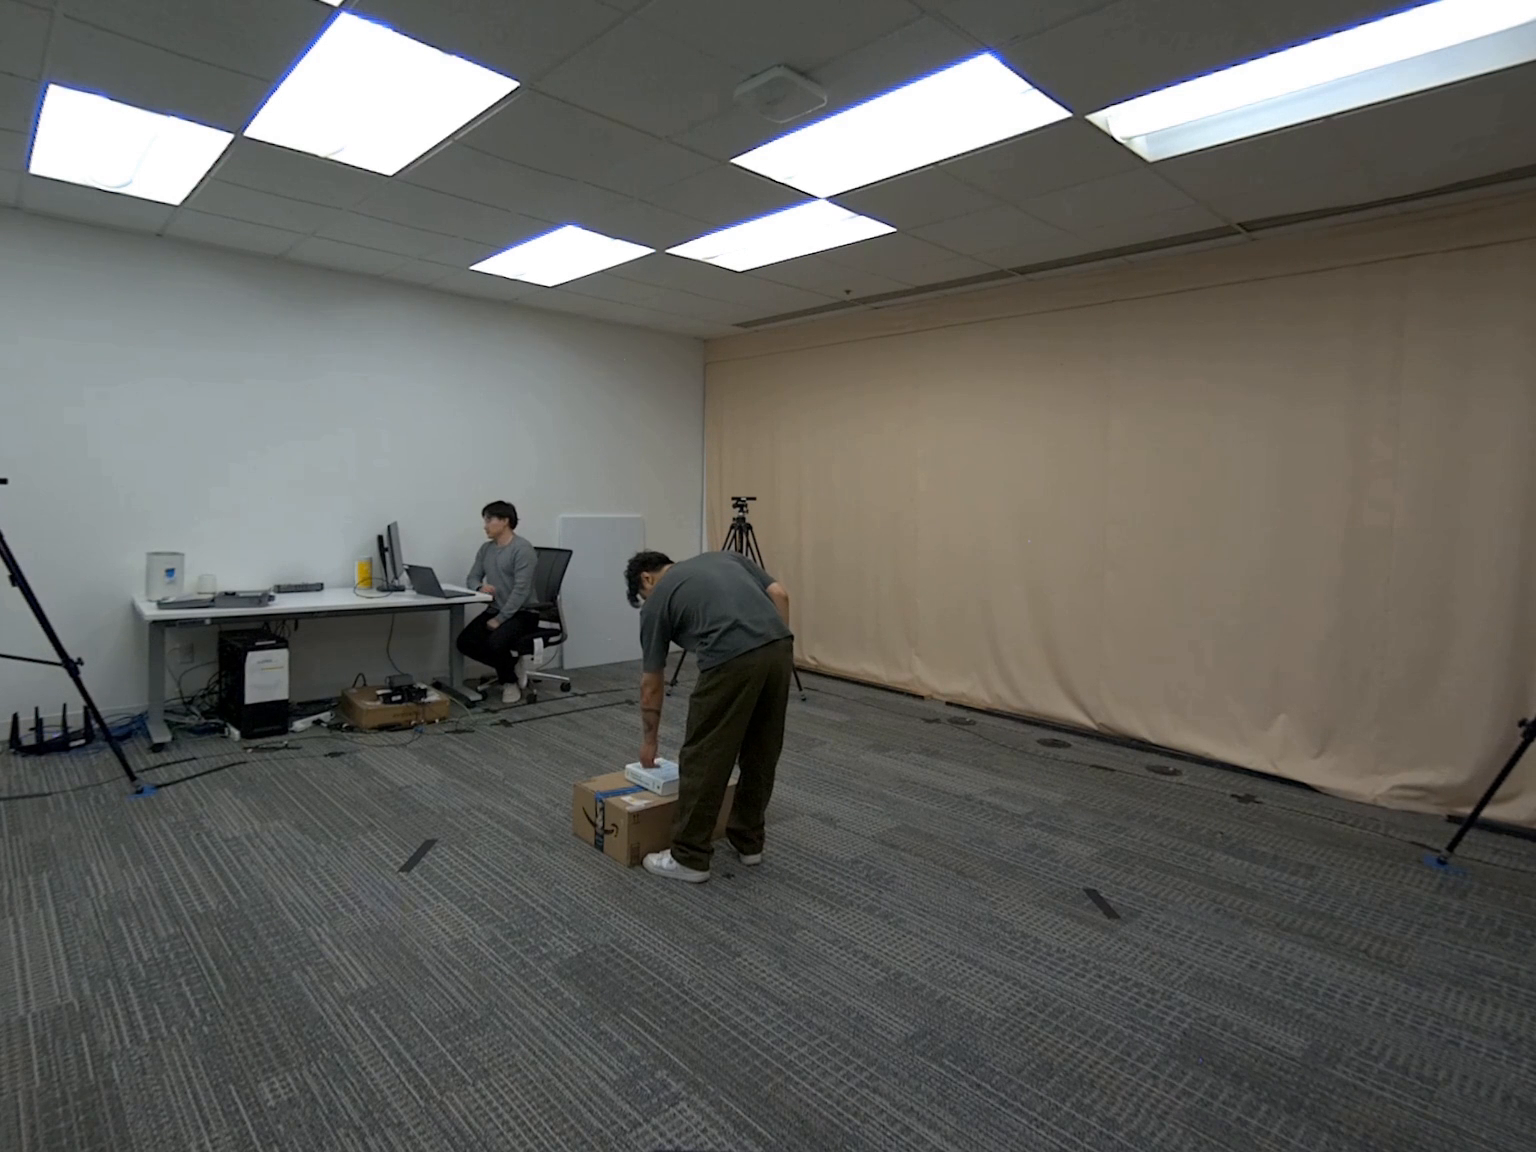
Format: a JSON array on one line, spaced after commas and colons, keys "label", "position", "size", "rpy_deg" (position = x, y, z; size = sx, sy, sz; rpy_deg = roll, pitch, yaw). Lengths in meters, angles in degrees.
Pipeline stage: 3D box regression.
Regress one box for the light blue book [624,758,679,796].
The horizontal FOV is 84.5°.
[{"label": "light blue book", "position": [-0.447, 0.825, 3.483], "size": [0.187, 0.059, 0.268], "rpy_deg": [-1, 6, -43]}]
